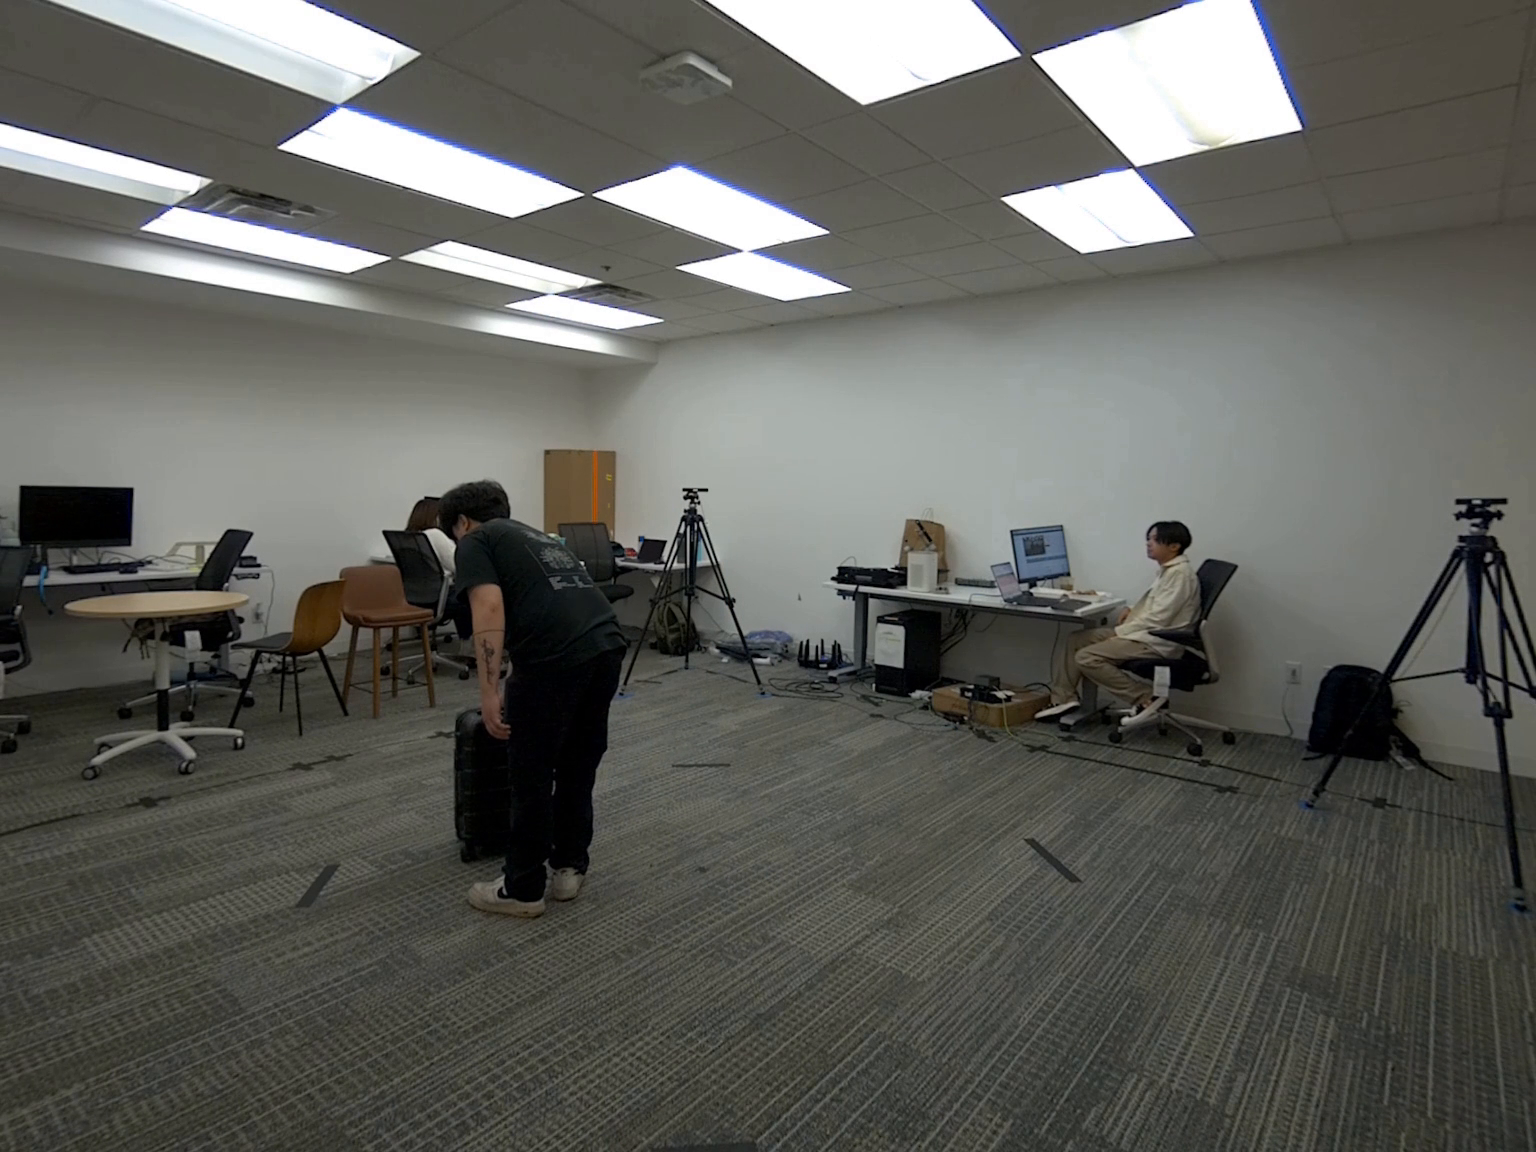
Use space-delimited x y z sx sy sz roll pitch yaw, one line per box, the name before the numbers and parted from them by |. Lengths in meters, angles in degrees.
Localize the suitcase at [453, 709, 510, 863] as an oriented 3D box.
suitcase | -1.034 0.763 3.269 0.366 0.547 0.255 -1 4 -25
